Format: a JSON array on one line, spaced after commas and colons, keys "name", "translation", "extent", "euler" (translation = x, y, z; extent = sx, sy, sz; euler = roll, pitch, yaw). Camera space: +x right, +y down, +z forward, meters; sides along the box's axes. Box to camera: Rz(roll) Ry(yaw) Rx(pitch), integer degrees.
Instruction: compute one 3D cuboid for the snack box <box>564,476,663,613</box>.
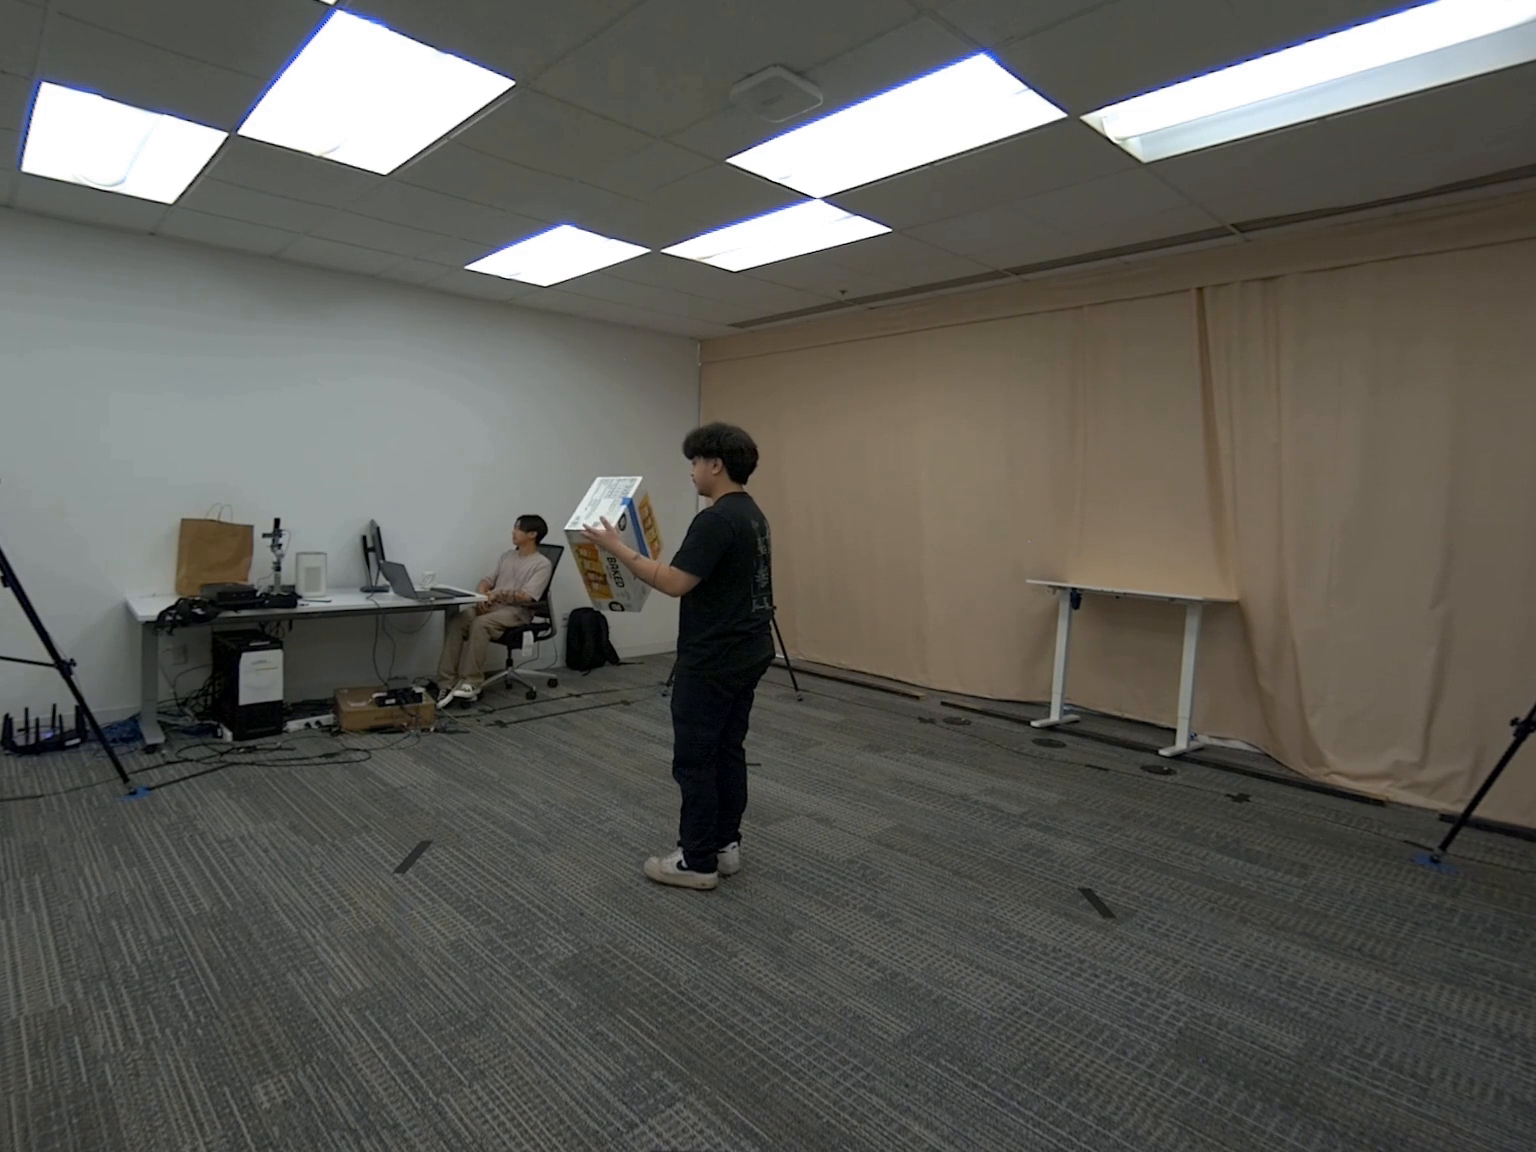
[{"name": "snack box", "translation": [-0.586, -0.121, 3.270], "extent": [0.208, 0.395, 0.344], "euler": [1, 40, 16]}]
